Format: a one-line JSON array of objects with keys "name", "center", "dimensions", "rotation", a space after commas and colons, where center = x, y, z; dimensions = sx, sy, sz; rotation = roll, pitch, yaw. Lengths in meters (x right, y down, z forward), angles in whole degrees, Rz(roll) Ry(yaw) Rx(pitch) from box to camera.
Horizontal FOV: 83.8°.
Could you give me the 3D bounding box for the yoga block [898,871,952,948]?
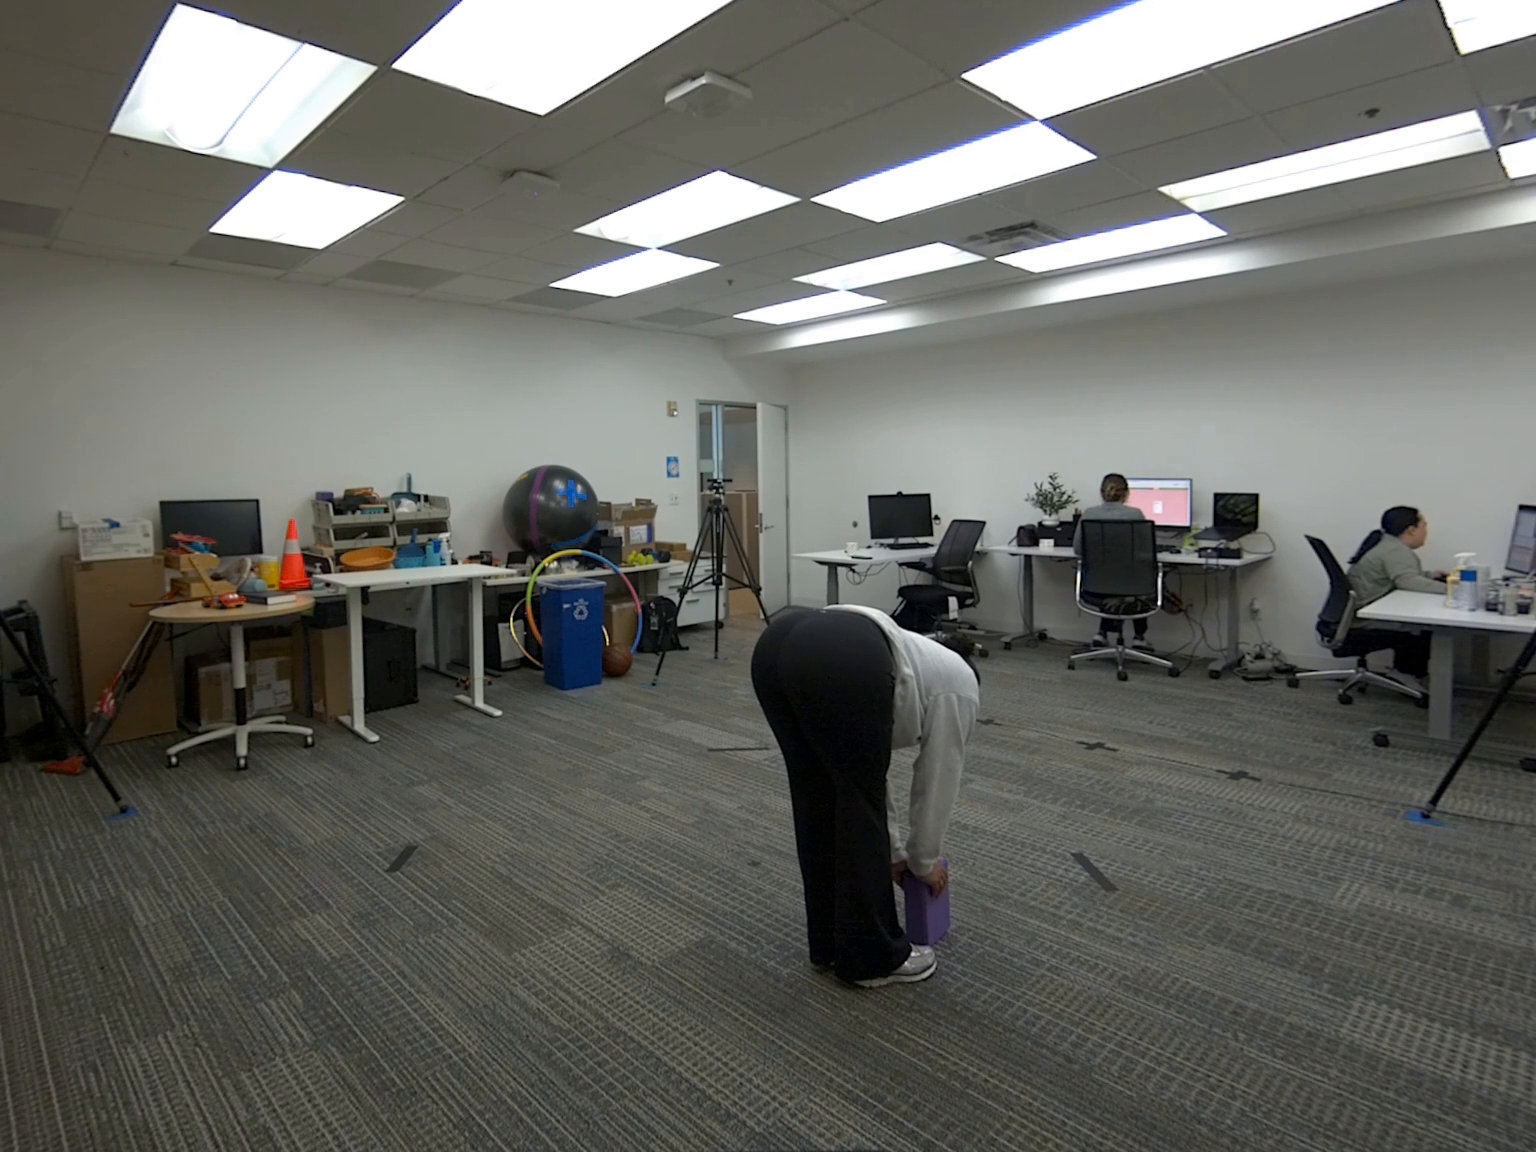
[{"name": "yoga block", "center": [0.484, 0.978, 2.577], "dimensions": [0.079, 0.228, 0.145], "rotation": [4, 10, 41]}]
